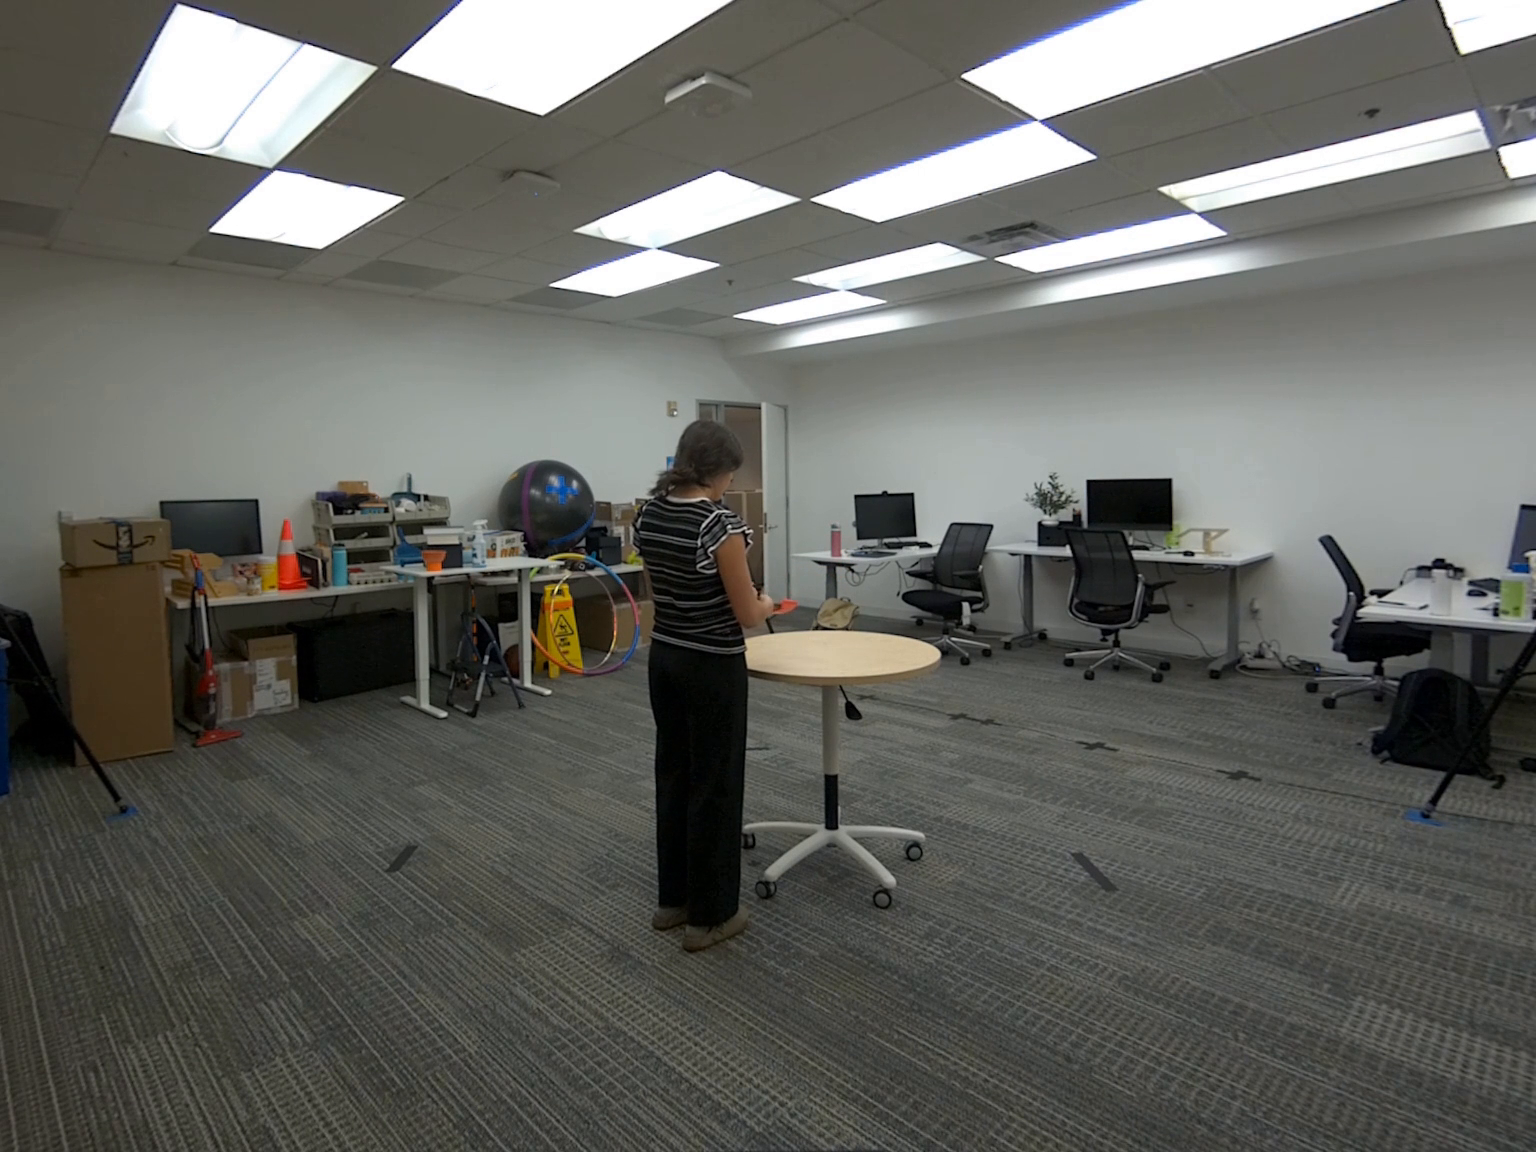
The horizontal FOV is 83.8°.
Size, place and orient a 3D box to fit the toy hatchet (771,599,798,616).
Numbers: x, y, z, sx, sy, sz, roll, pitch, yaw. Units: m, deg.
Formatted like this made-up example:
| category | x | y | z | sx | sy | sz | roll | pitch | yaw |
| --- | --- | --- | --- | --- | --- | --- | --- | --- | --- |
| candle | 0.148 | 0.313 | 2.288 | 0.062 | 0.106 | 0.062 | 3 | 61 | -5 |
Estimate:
| category | x | y | z | sx | sy | sz | roll | pitch | yaw |
| --- | --- | --- | --- | --- | --- | --- | --- | --- | --- |
| toy hatchet | 0.021 | 0.083 | 2.807 | 0.133 | 0.030 | 0.261 | -11 | -19 | 20 |
